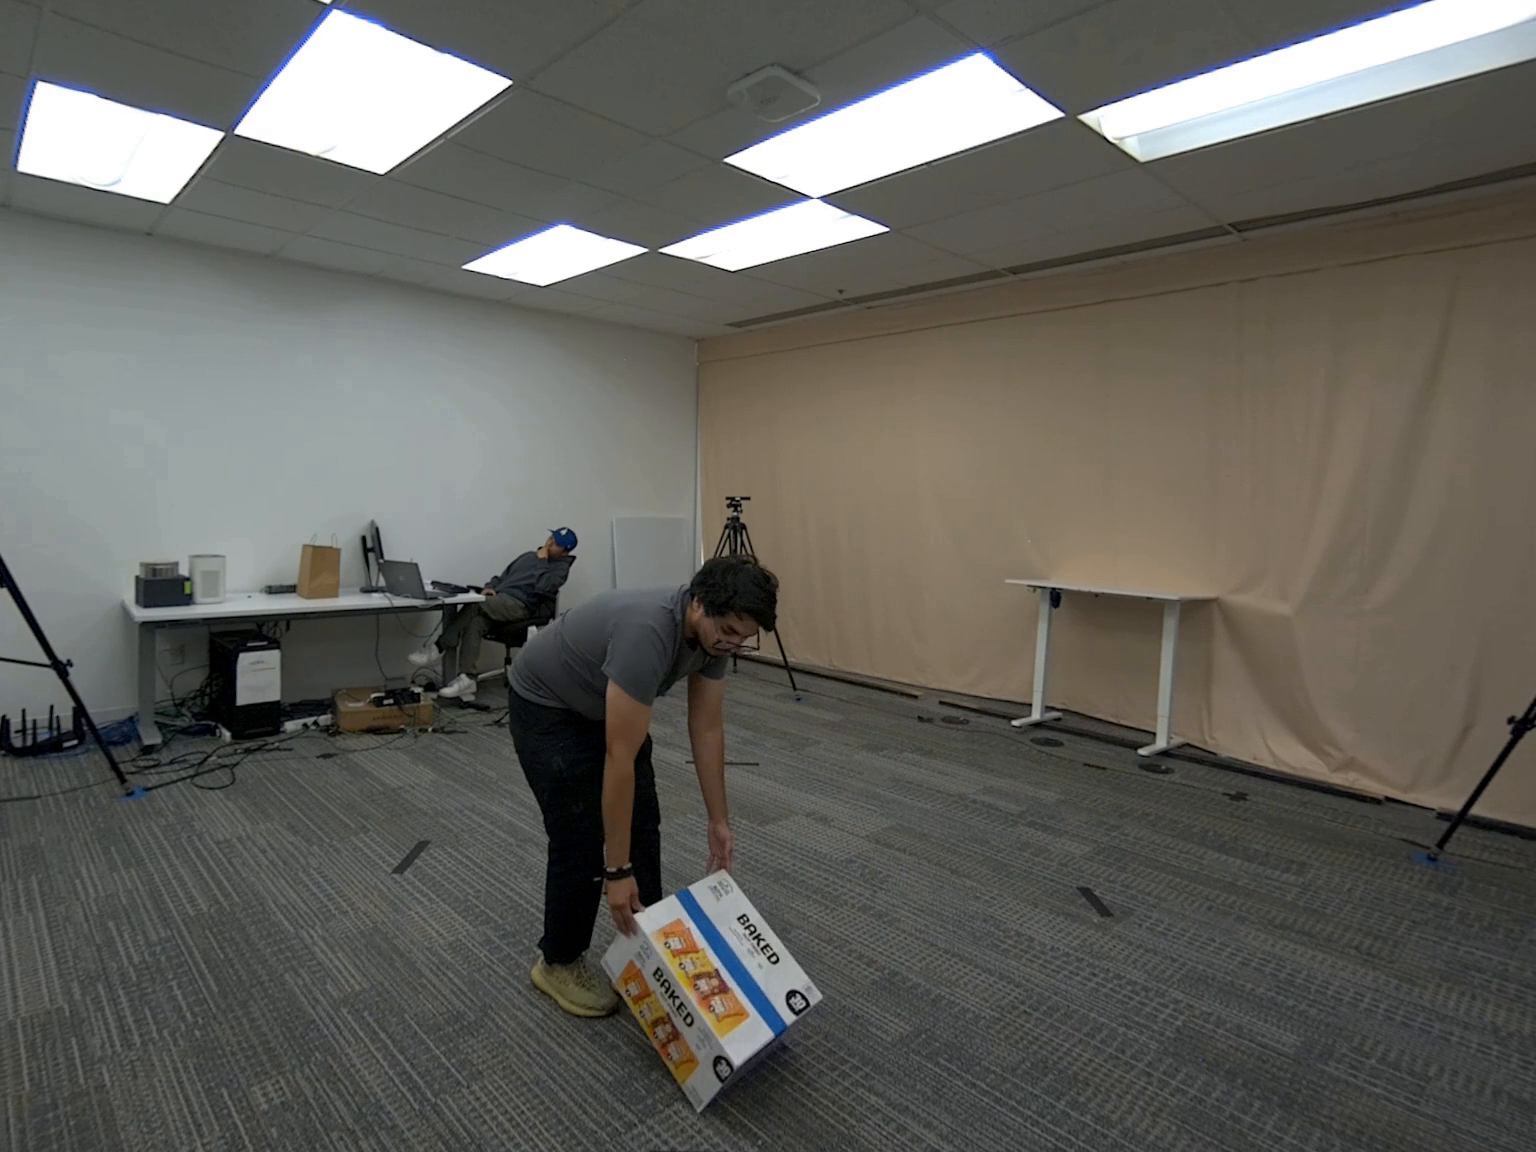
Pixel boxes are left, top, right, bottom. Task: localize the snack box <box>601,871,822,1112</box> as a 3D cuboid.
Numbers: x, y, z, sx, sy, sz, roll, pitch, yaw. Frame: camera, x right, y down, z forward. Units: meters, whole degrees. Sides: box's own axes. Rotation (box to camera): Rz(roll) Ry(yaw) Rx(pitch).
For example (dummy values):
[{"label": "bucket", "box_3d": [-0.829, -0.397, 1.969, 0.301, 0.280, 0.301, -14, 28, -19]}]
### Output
[{"label": "snack box", "box_3d": [-0.145, 1.008, 2.085, 0.416, 0.204, 0.333, 44, 28, 28]}]
